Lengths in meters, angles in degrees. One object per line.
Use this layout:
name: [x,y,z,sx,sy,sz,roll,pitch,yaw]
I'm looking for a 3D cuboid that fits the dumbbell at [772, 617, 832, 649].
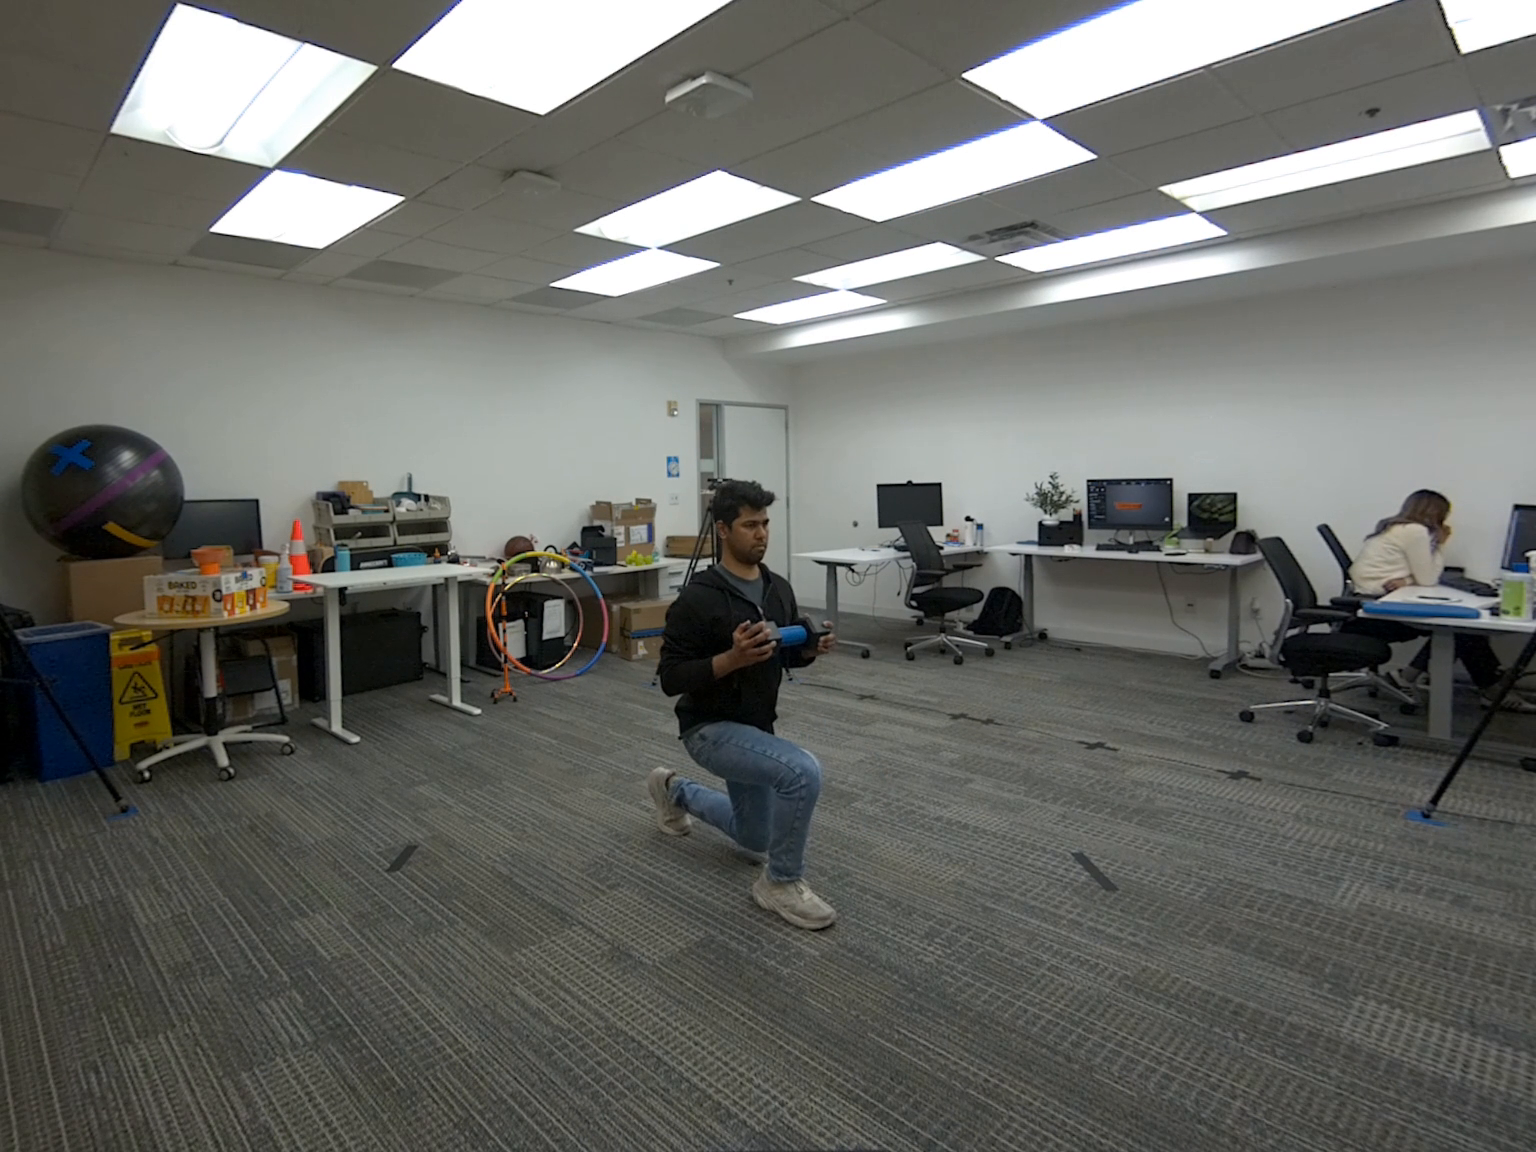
dumbbell: [0.051,0.185,2.749,0.286,0.121,0.113,-4,24,-38]
